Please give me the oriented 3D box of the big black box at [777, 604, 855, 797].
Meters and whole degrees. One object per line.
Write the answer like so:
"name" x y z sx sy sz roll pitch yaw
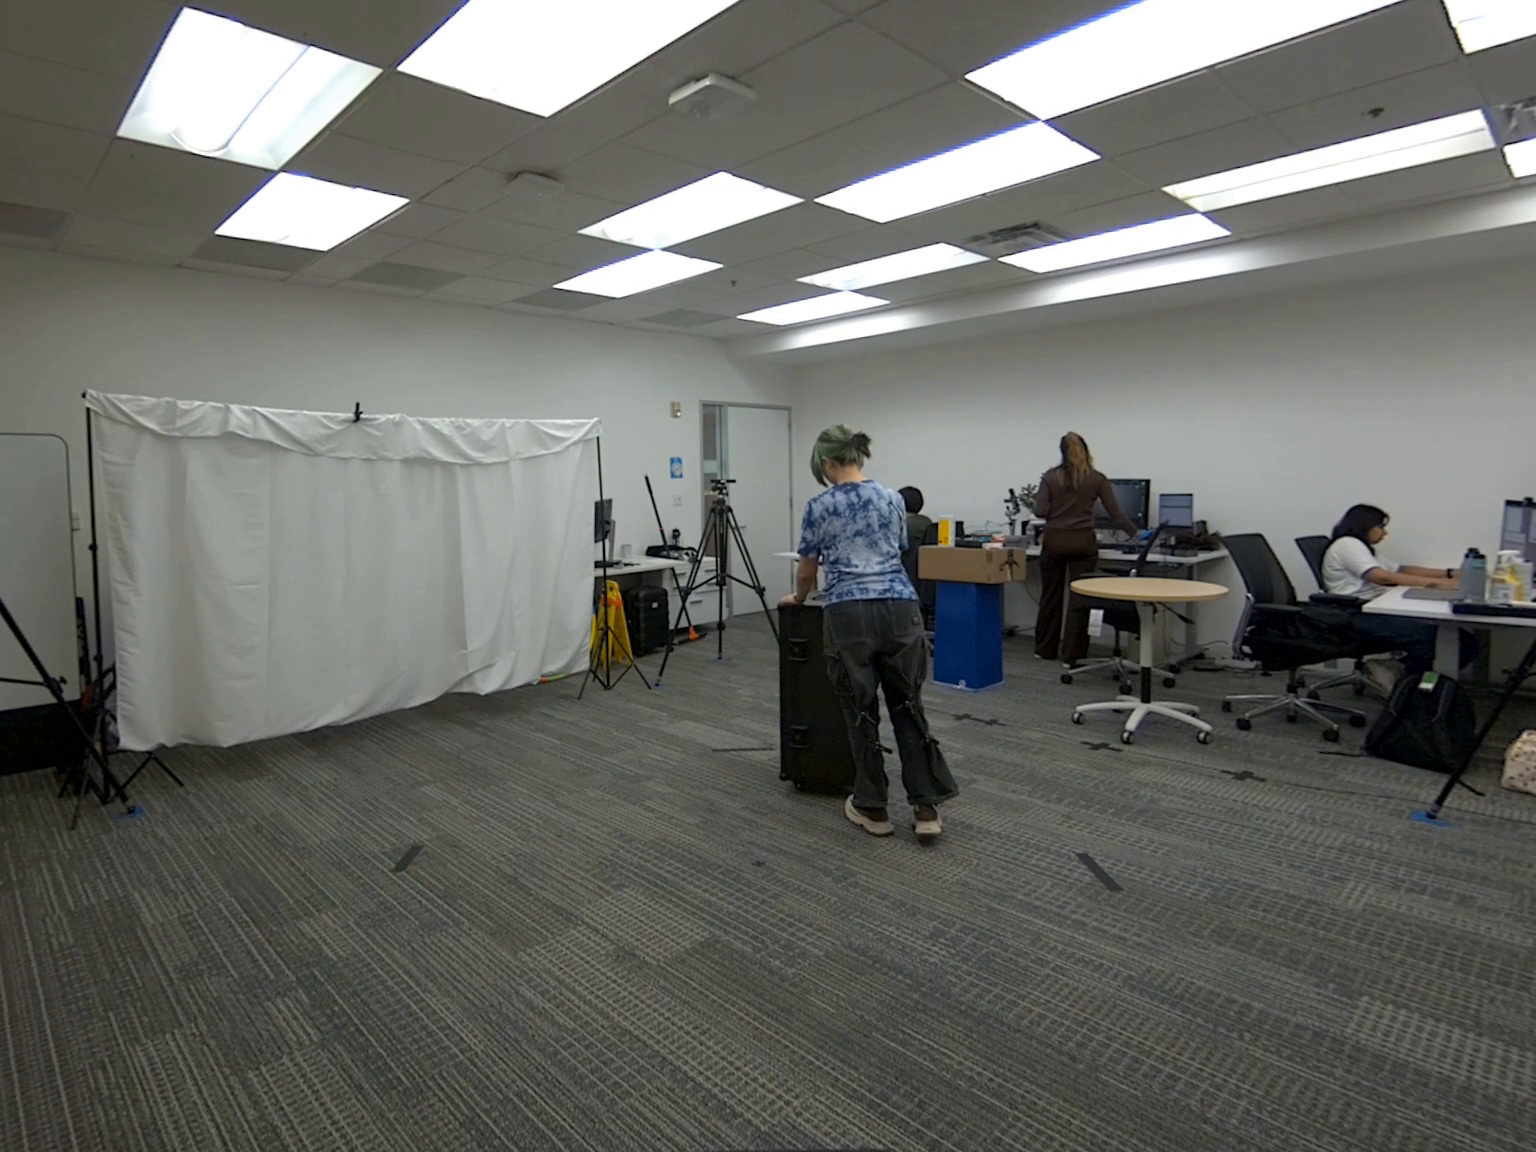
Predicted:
"big black box" 0.290 0.523 3.929 0.403 0.858 0.514 1 5 17
